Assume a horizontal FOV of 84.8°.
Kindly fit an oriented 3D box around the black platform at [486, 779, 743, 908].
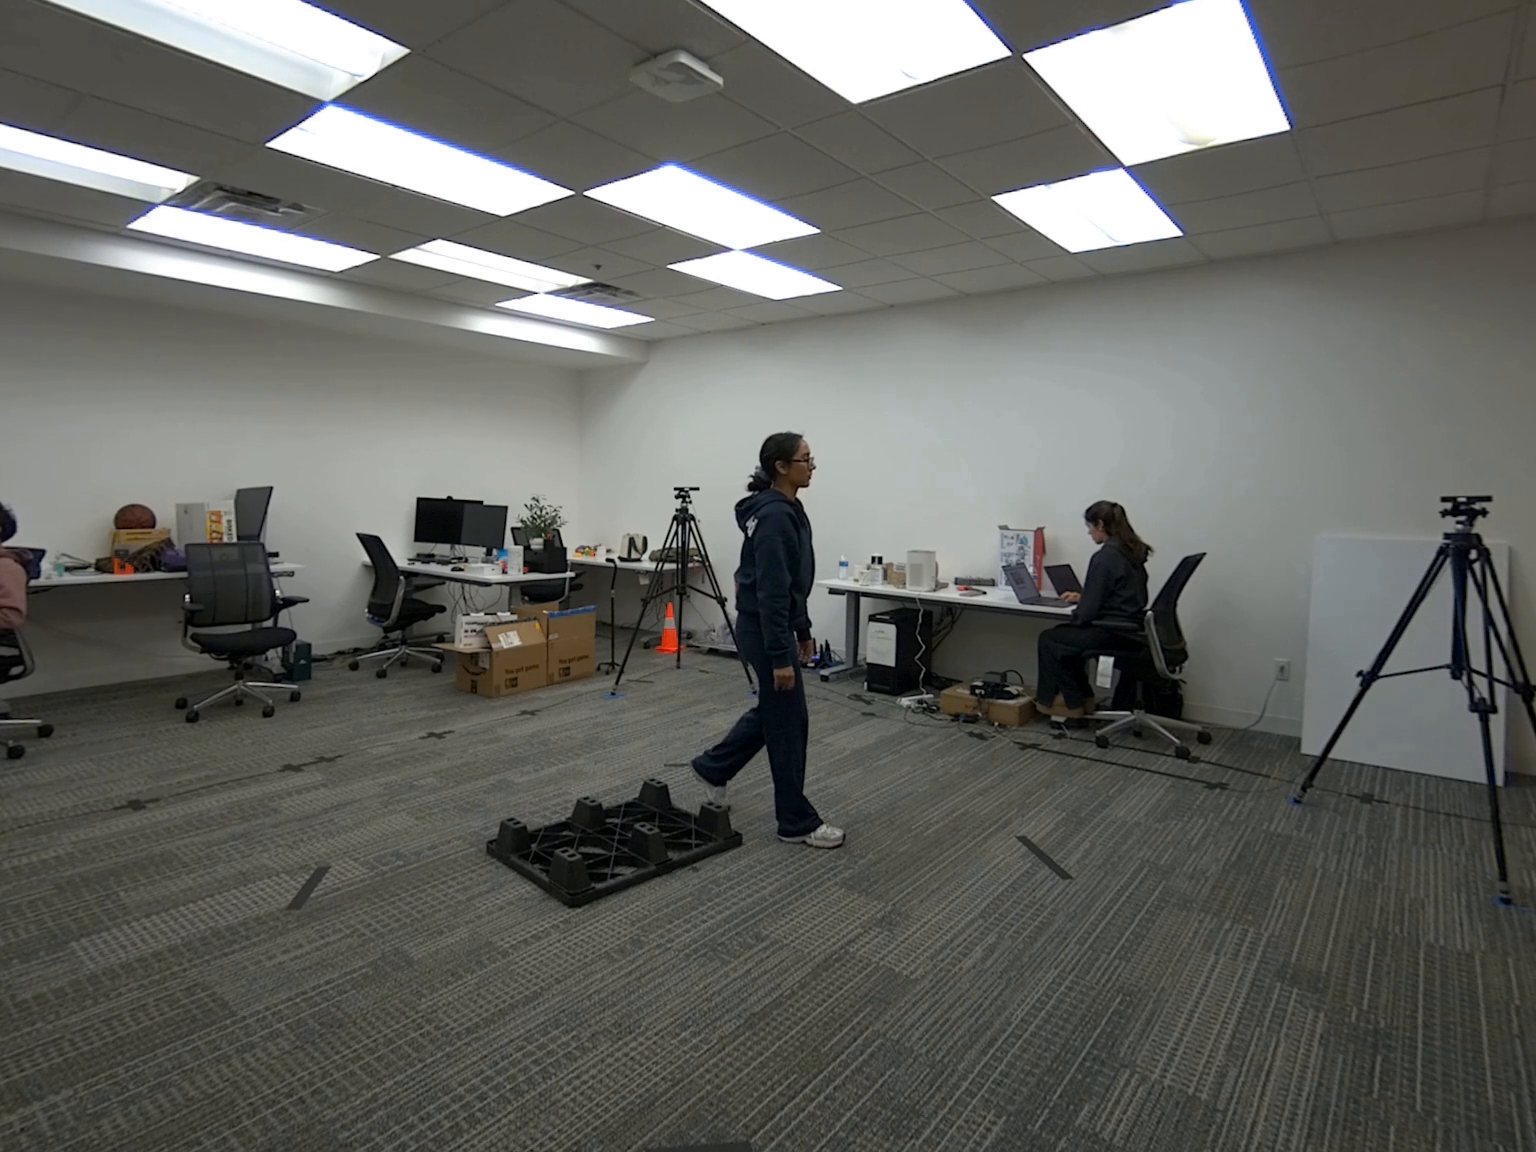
[{"bbox_3d":[-0.593,0.979,3.265,0.626,0.143,0.781,6,7,44],"label":"black platform"}]
